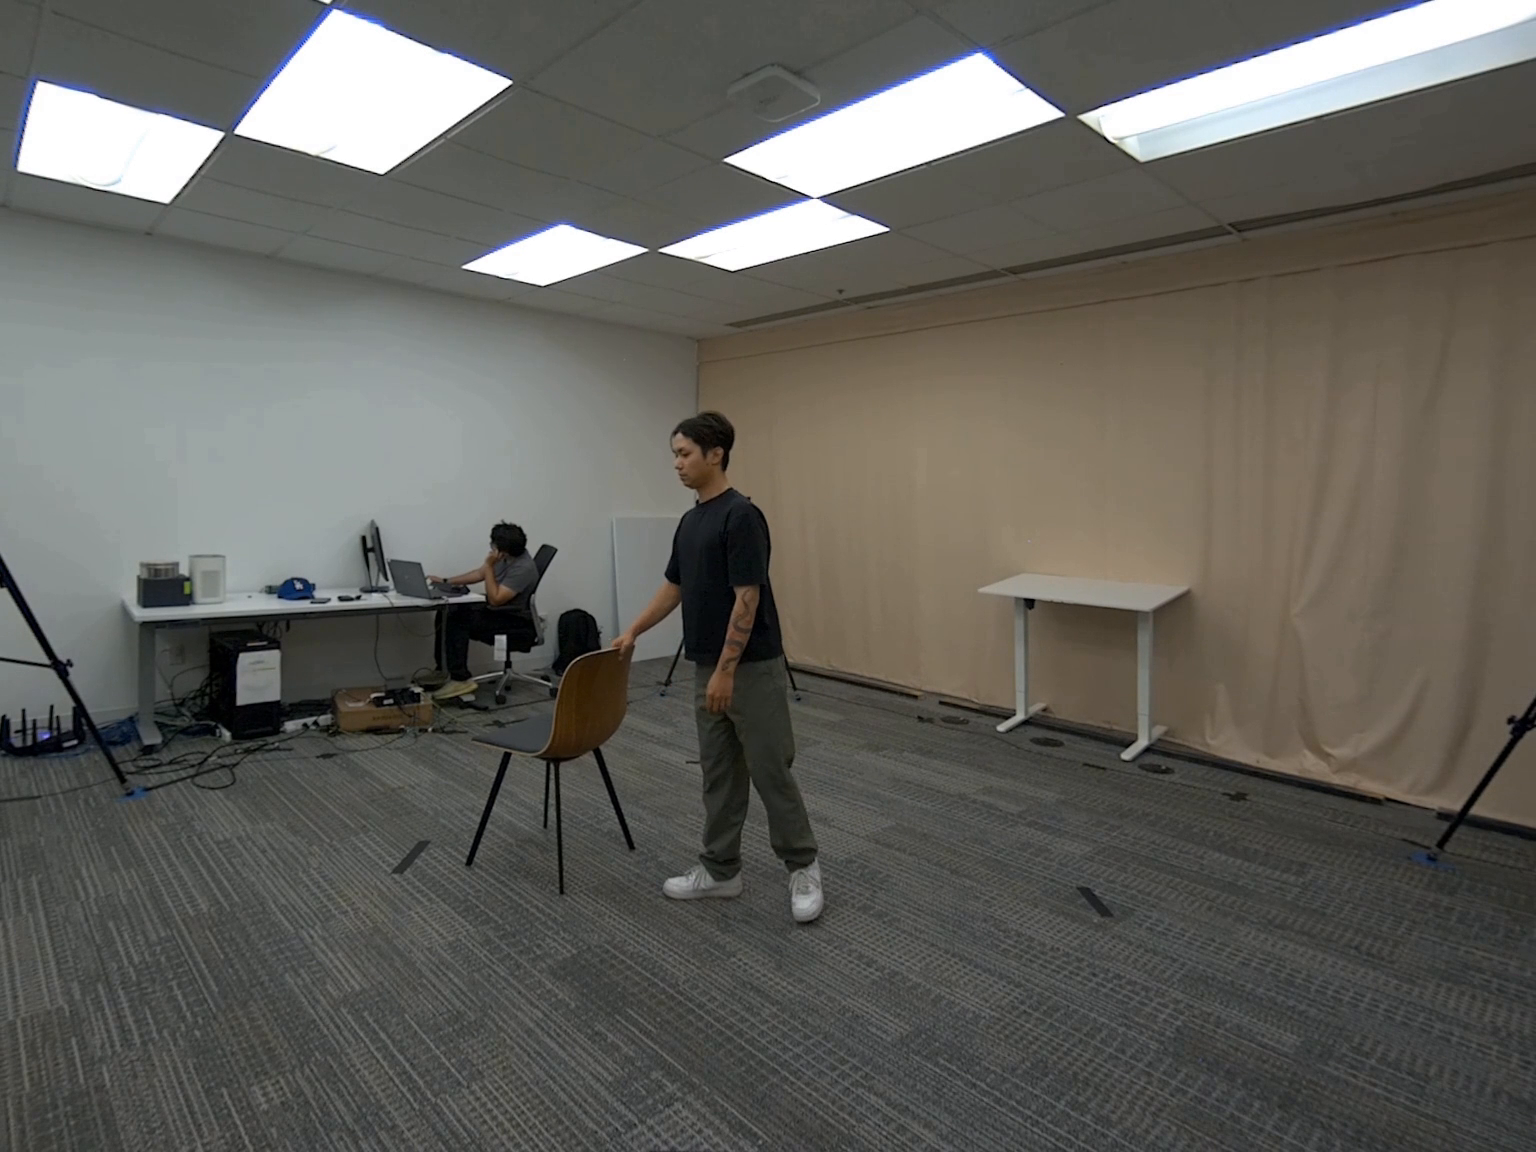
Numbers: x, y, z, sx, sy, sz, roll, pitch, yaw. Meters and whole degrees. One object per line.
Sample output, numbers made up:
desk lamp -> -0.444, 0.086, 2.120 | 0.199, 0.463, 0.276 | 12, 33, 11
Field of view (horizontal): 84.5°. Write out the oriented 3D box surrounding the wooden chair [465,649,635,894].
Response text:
wooden chair -> -0.816, 0.650, 3.193 | 0.535, 0.874, 0.469 | 9, 7, 26
